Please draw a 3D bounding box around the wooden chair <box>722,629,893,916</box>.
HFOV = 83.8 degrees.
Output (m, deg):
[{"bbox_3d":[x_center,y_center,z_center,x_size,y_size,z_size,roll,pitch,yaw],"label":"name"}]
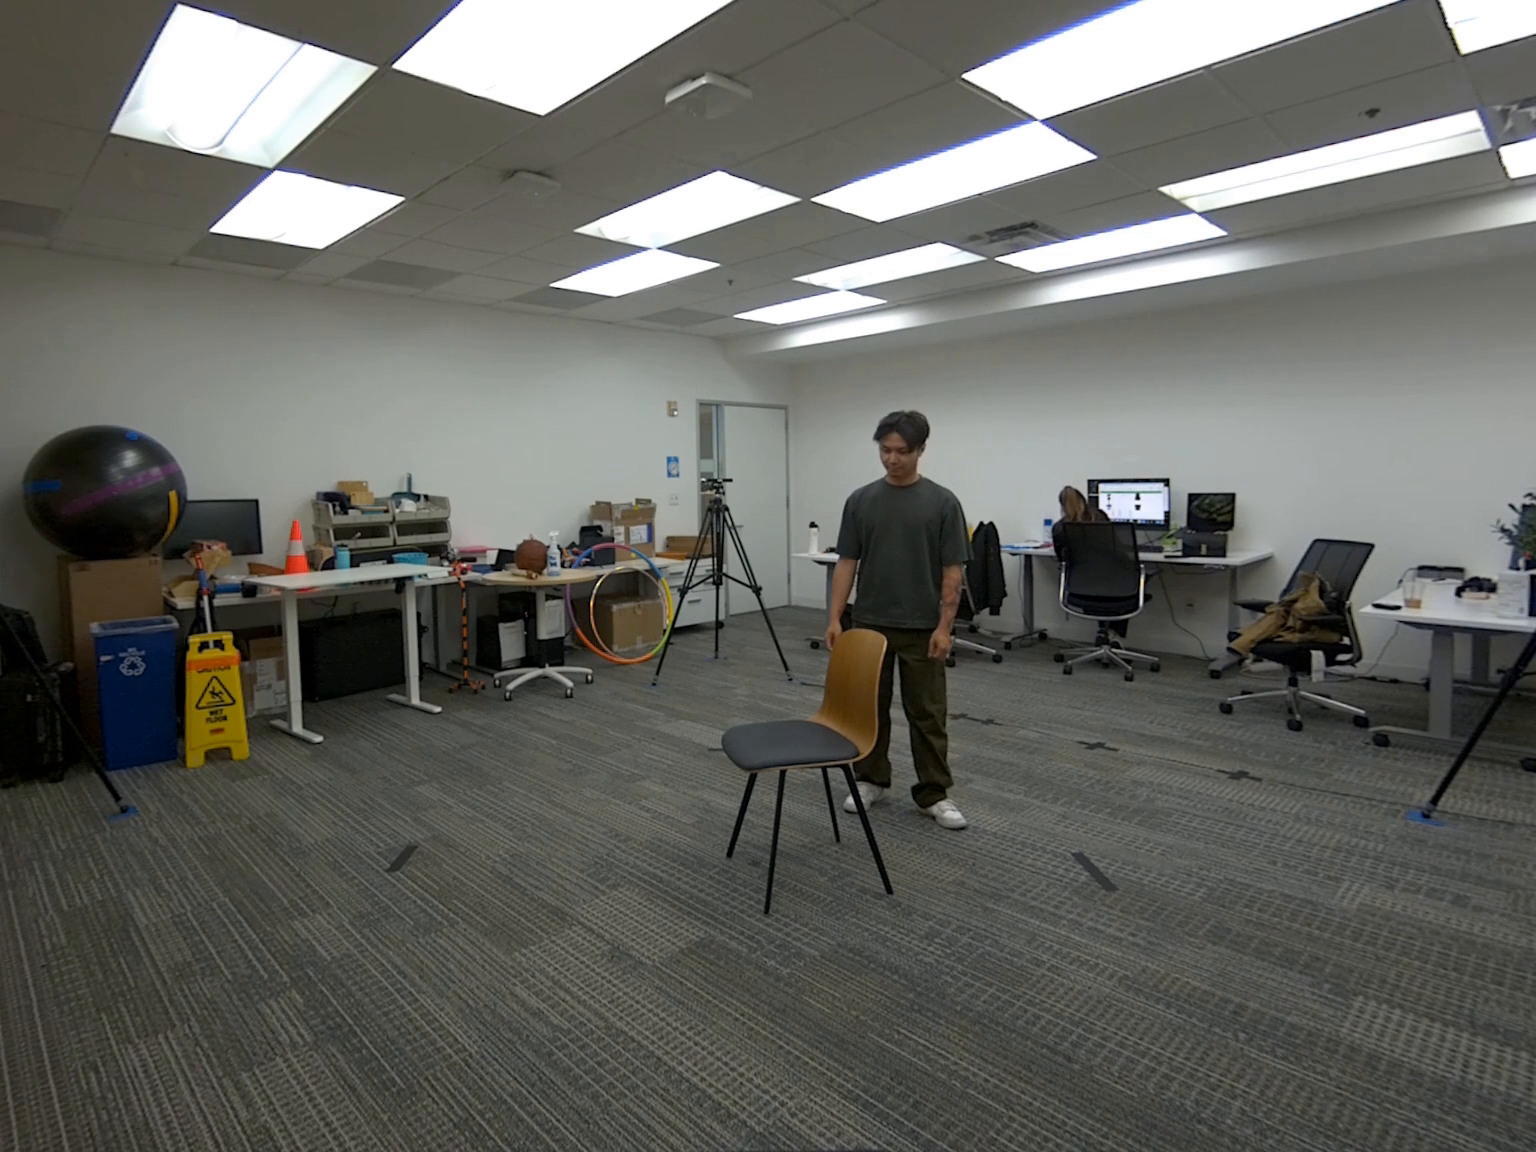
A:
[{"bbox_3d":[0.121,0.629,2.975,0.514,0.875,0.487,2,4,-18],"label":"wooden chair"}]
